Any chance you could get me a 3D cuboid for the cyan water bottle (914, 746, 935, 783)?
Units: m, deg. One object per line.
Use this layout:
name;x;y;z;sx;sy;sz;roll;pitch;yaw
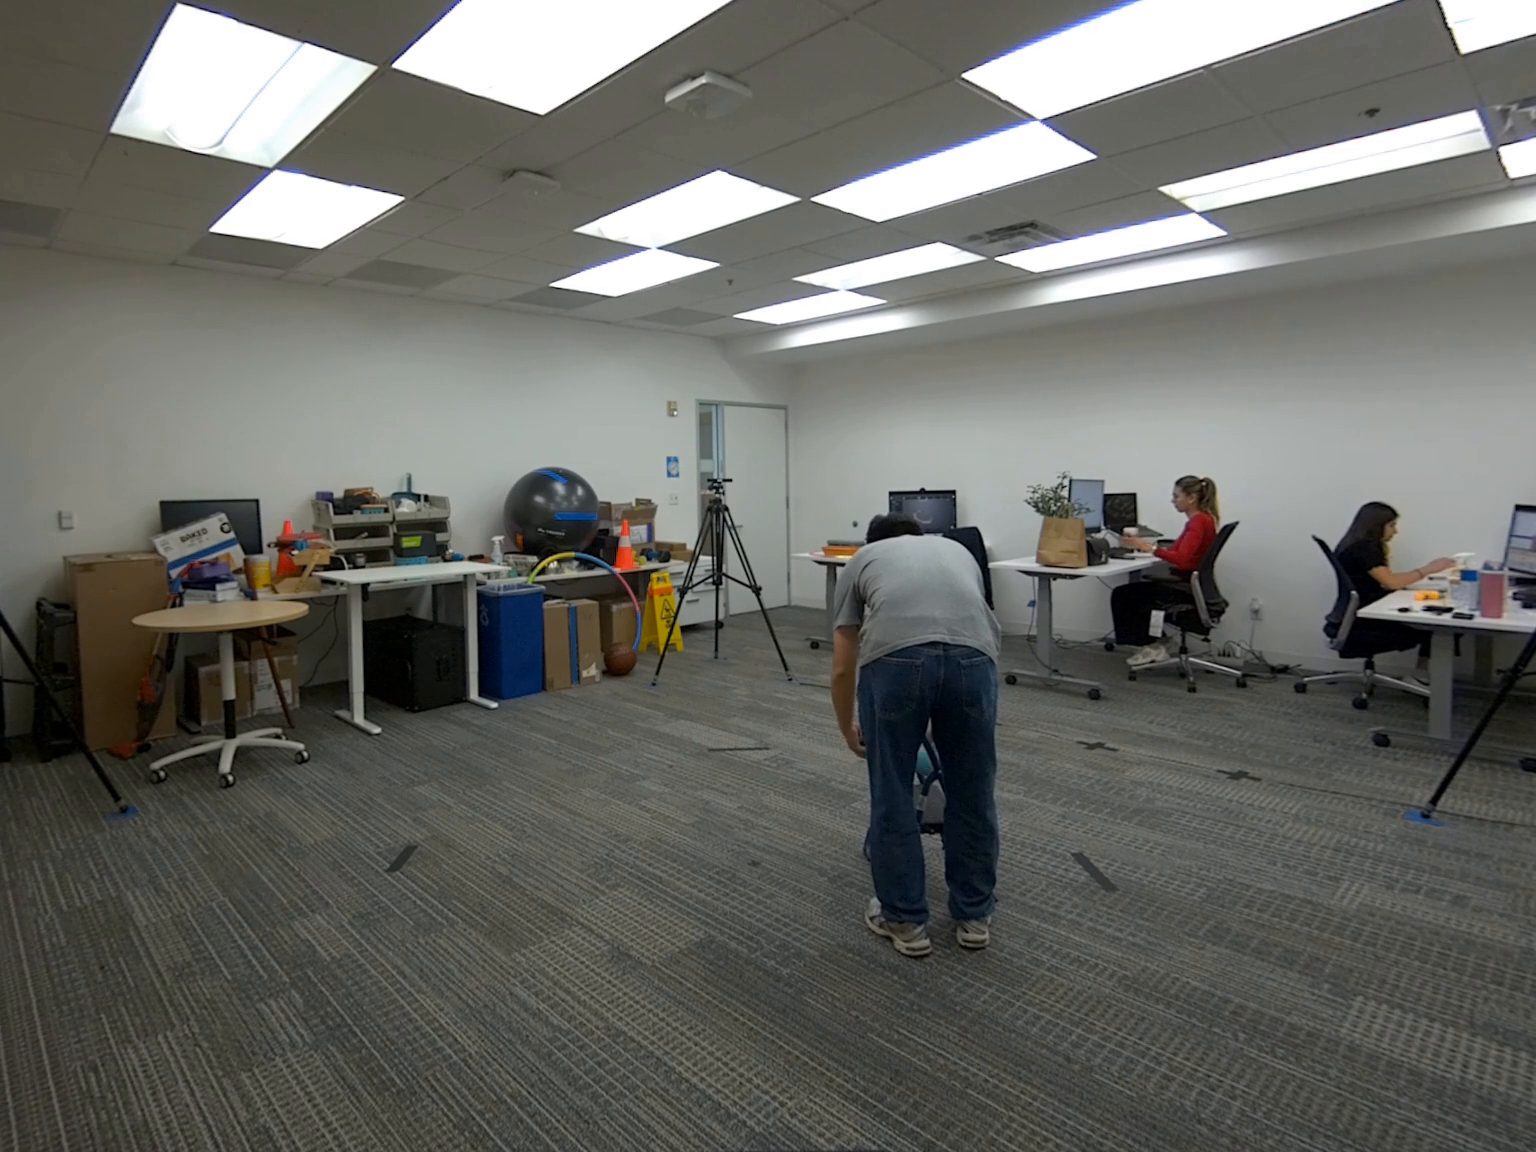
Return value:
cyan water bottle;0.442;0.588;2.939;0.283;0.092;0.093;14;4;-2
